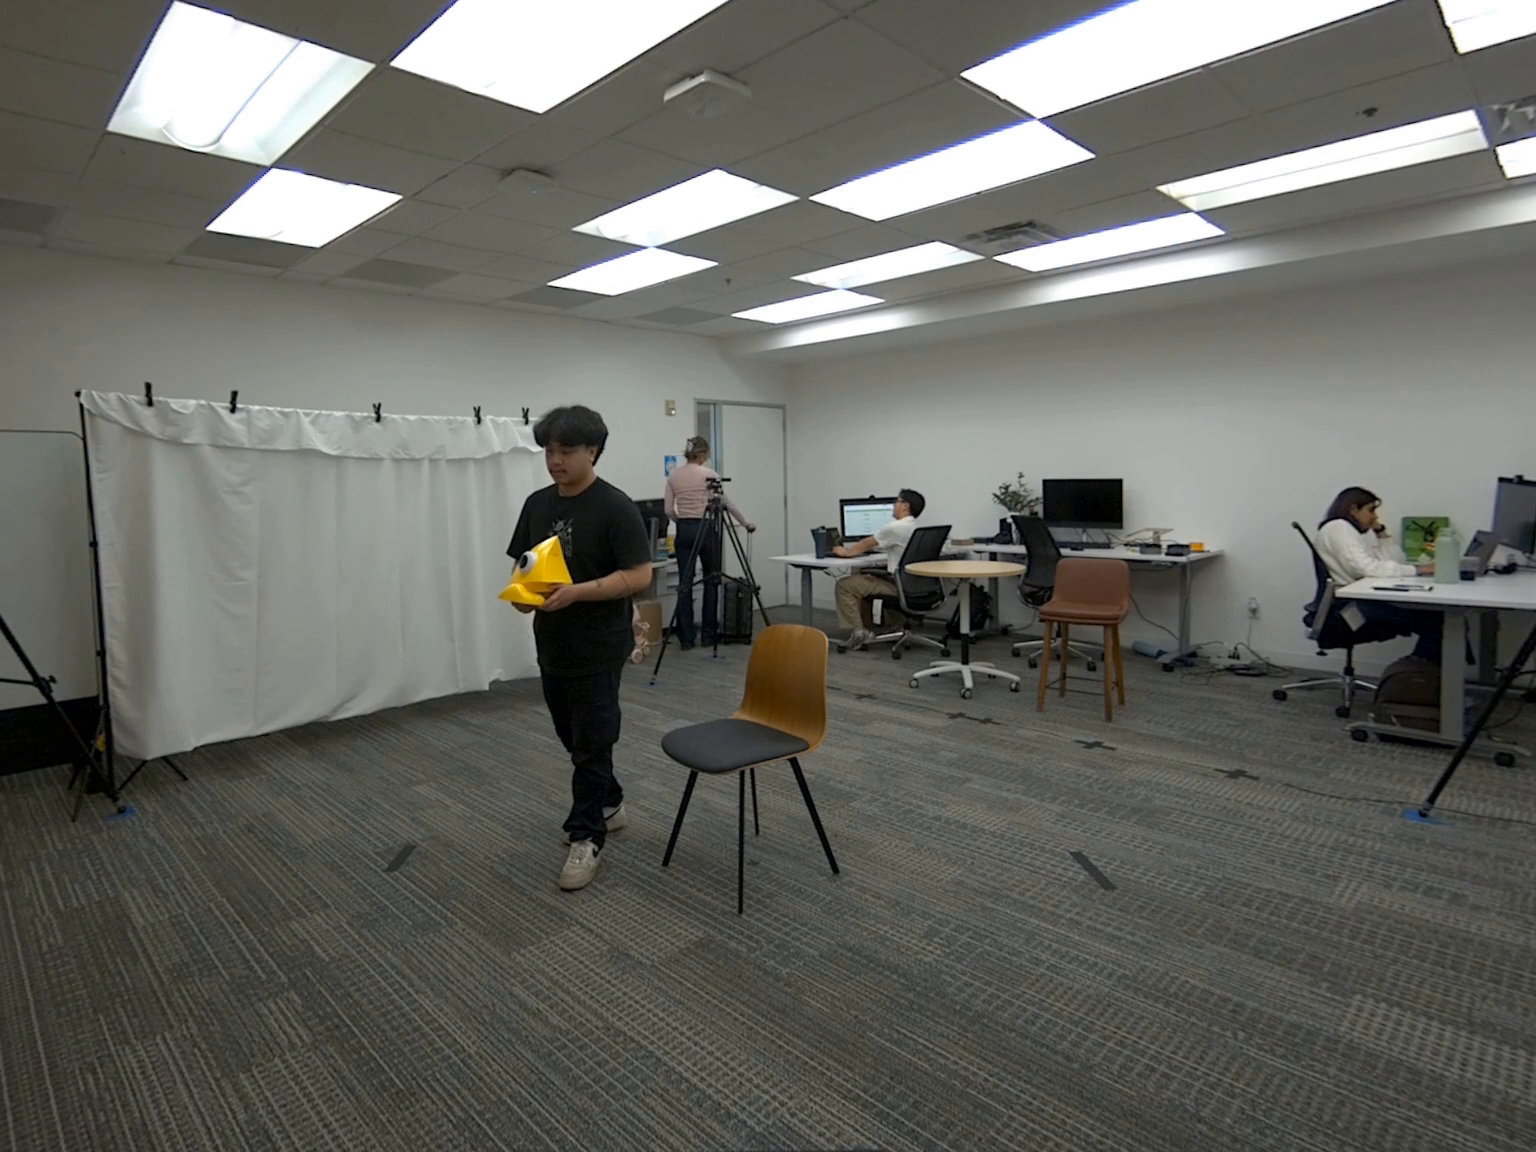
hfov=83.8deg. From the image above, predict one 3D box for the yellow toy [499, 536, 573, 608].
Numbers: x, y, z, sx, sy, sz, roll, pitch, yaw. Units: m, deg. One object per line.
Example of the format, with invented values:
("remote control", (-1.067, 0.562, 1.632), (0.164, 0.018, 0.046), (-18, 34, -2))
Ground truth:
("yellow toy", (-0.782, -0.025, 2.858), (0.196, 0.231, 0.201), (7, -1, 16))
